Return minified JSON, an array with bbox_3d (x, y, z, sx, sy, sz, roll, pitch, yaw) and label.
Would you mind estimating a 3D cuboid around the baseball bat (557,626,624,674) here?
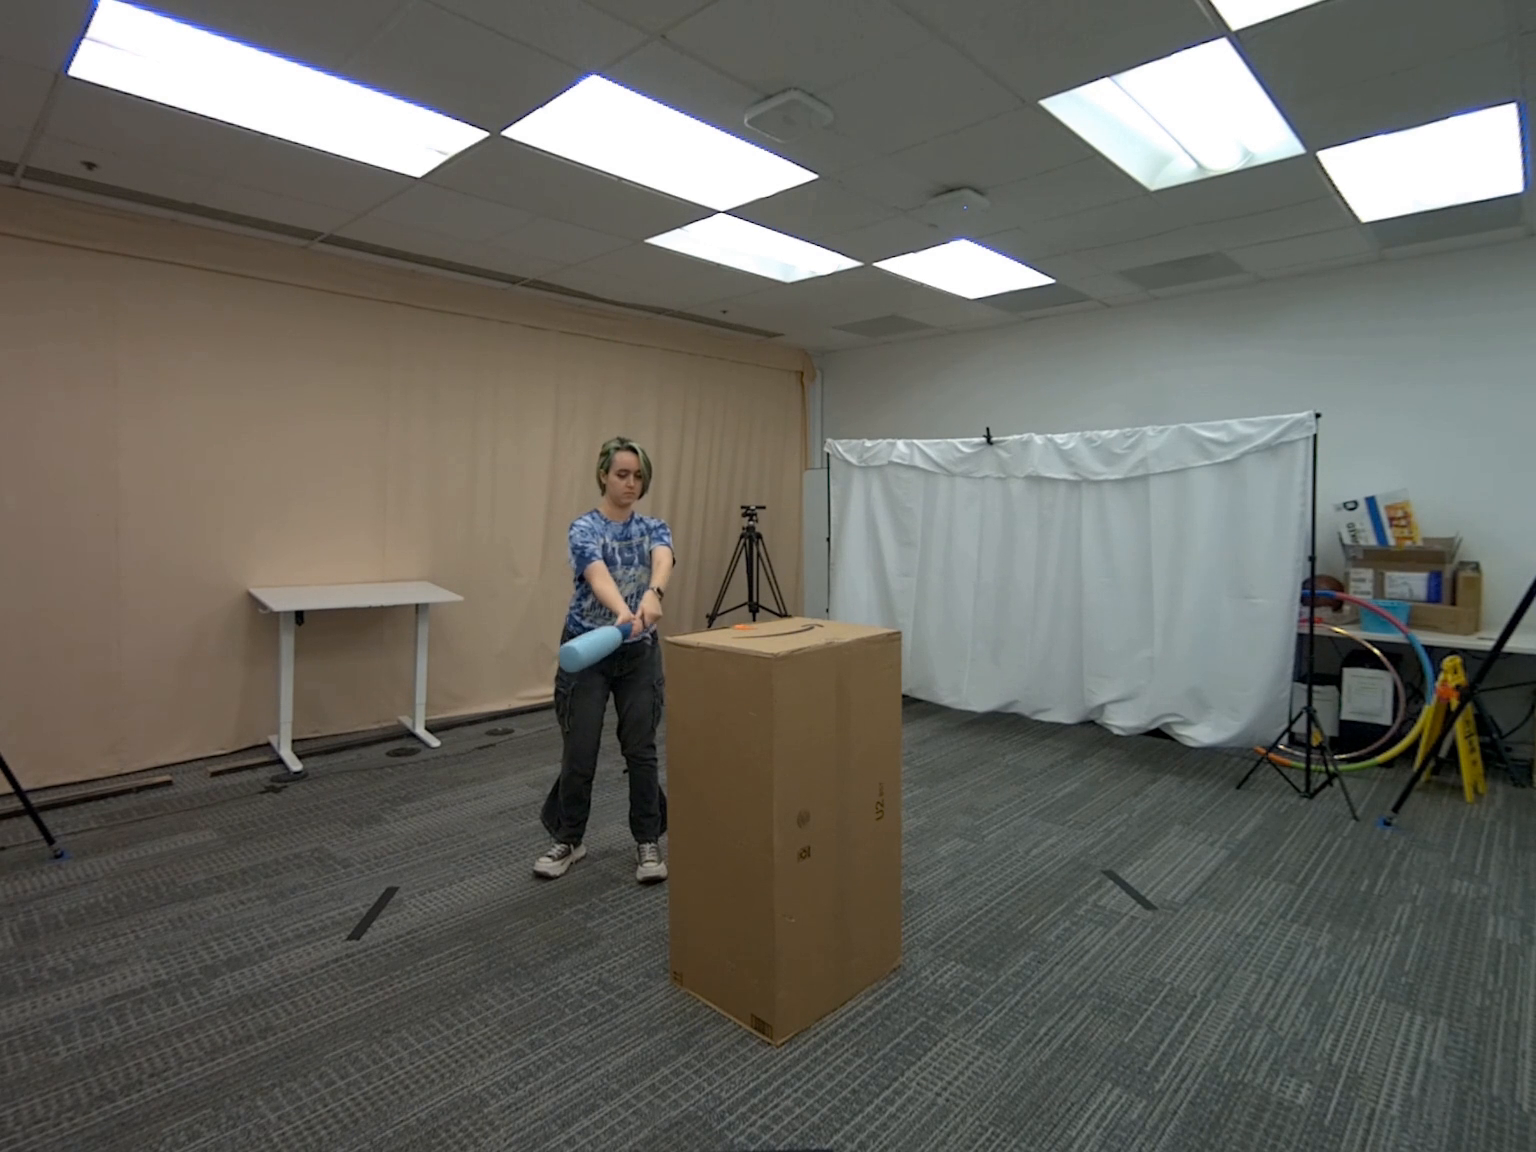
[{"bbox_3d":[-0.472,0.177,2.567,0.090,0.088,0.537,1,11,15],"label":"baseball bat"}]
